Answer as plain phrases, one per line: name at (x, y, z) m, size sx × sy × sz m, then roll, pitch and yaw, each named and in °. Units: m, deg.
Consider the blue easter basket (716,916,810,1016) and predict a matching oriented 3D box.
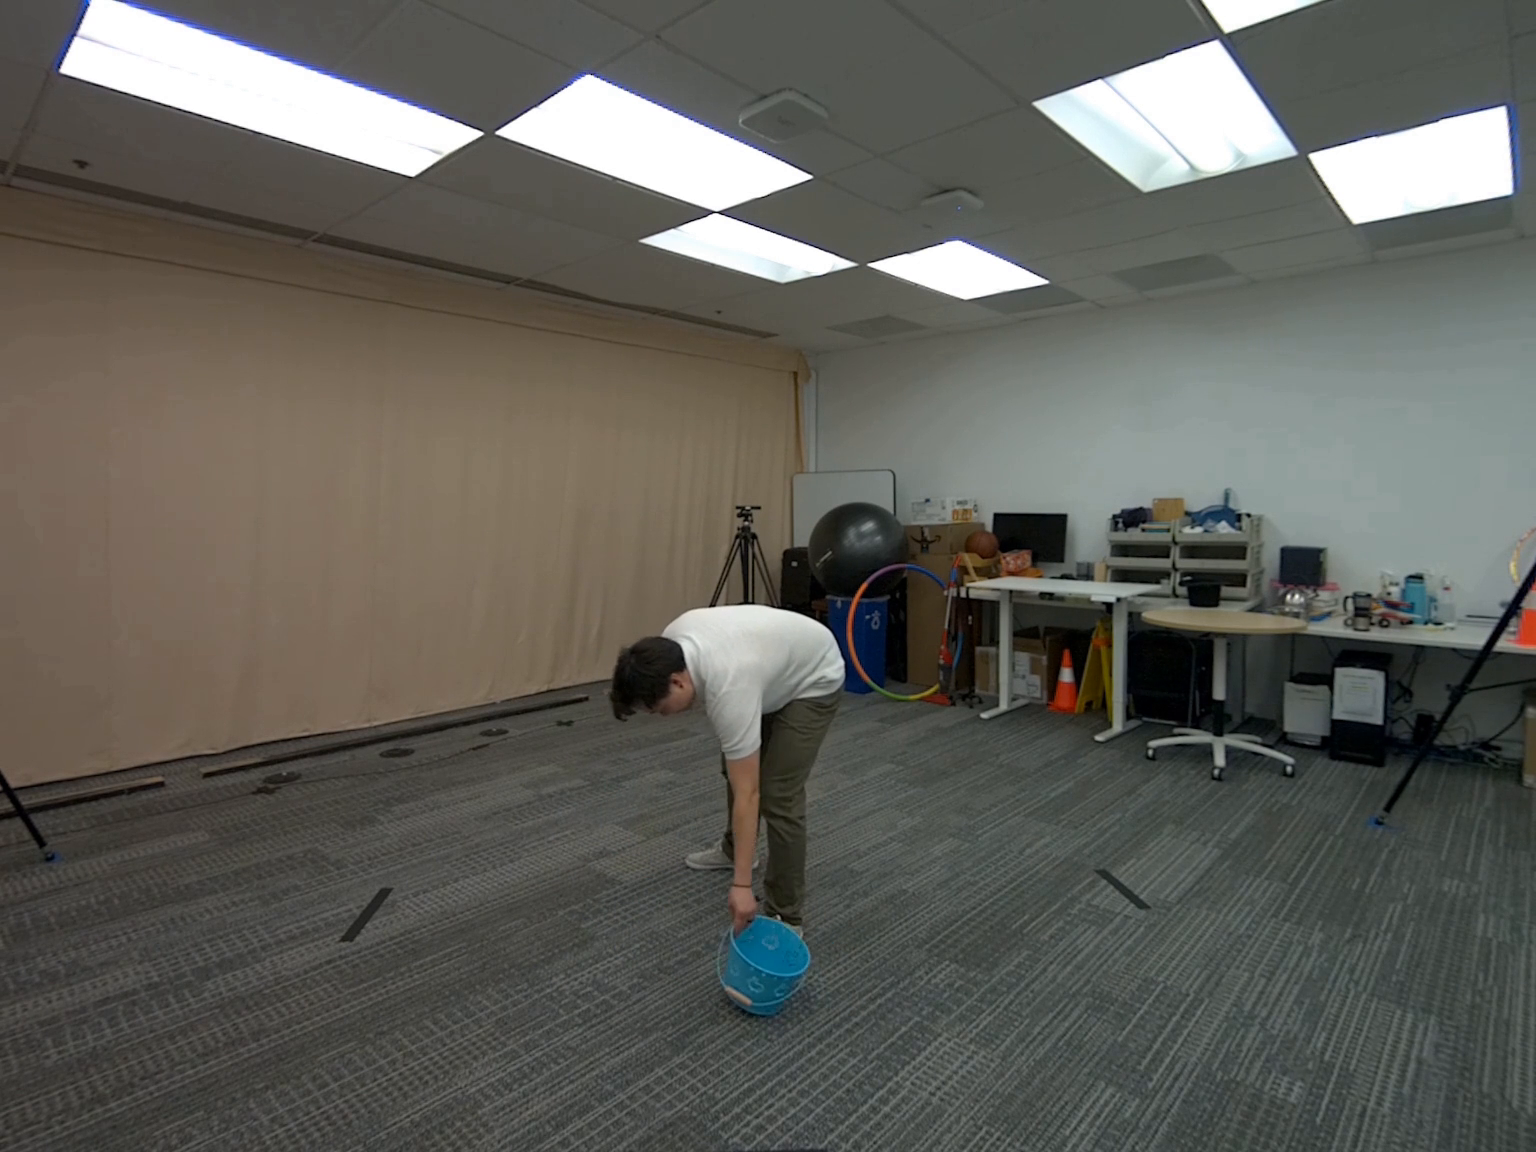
blue easter basket at (-0.011, 1.092, 2.358) m, size 0.242 × 0.155 × 0.246 m, roll 17°, pitch 11°, yaw -5°
